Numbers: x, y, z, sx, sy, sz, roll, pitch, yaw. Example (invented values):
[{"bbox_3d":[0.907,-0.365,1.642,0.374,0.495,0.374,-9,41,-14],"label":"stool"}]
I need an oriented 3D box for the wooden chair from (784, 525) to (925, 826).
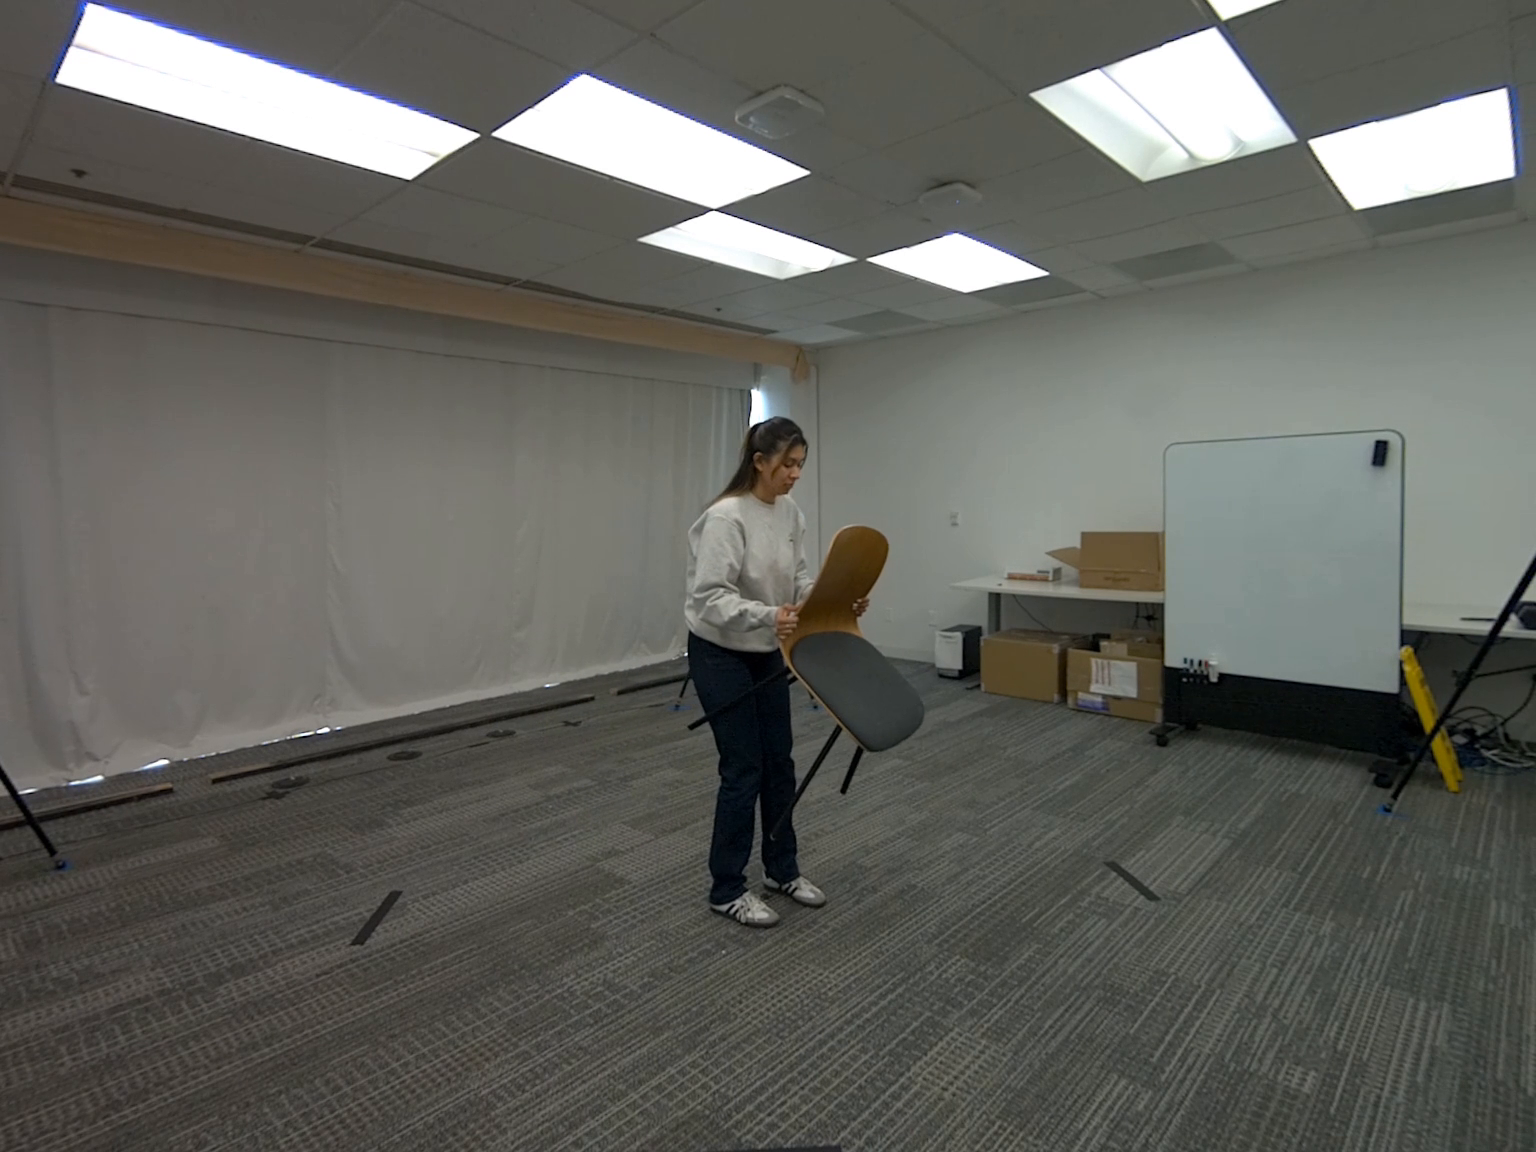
[{"bbox_3d":[0.244,0.344,2.681,0.538,0.877,0.464,44,28,26],"label":"wooden chair"}]
